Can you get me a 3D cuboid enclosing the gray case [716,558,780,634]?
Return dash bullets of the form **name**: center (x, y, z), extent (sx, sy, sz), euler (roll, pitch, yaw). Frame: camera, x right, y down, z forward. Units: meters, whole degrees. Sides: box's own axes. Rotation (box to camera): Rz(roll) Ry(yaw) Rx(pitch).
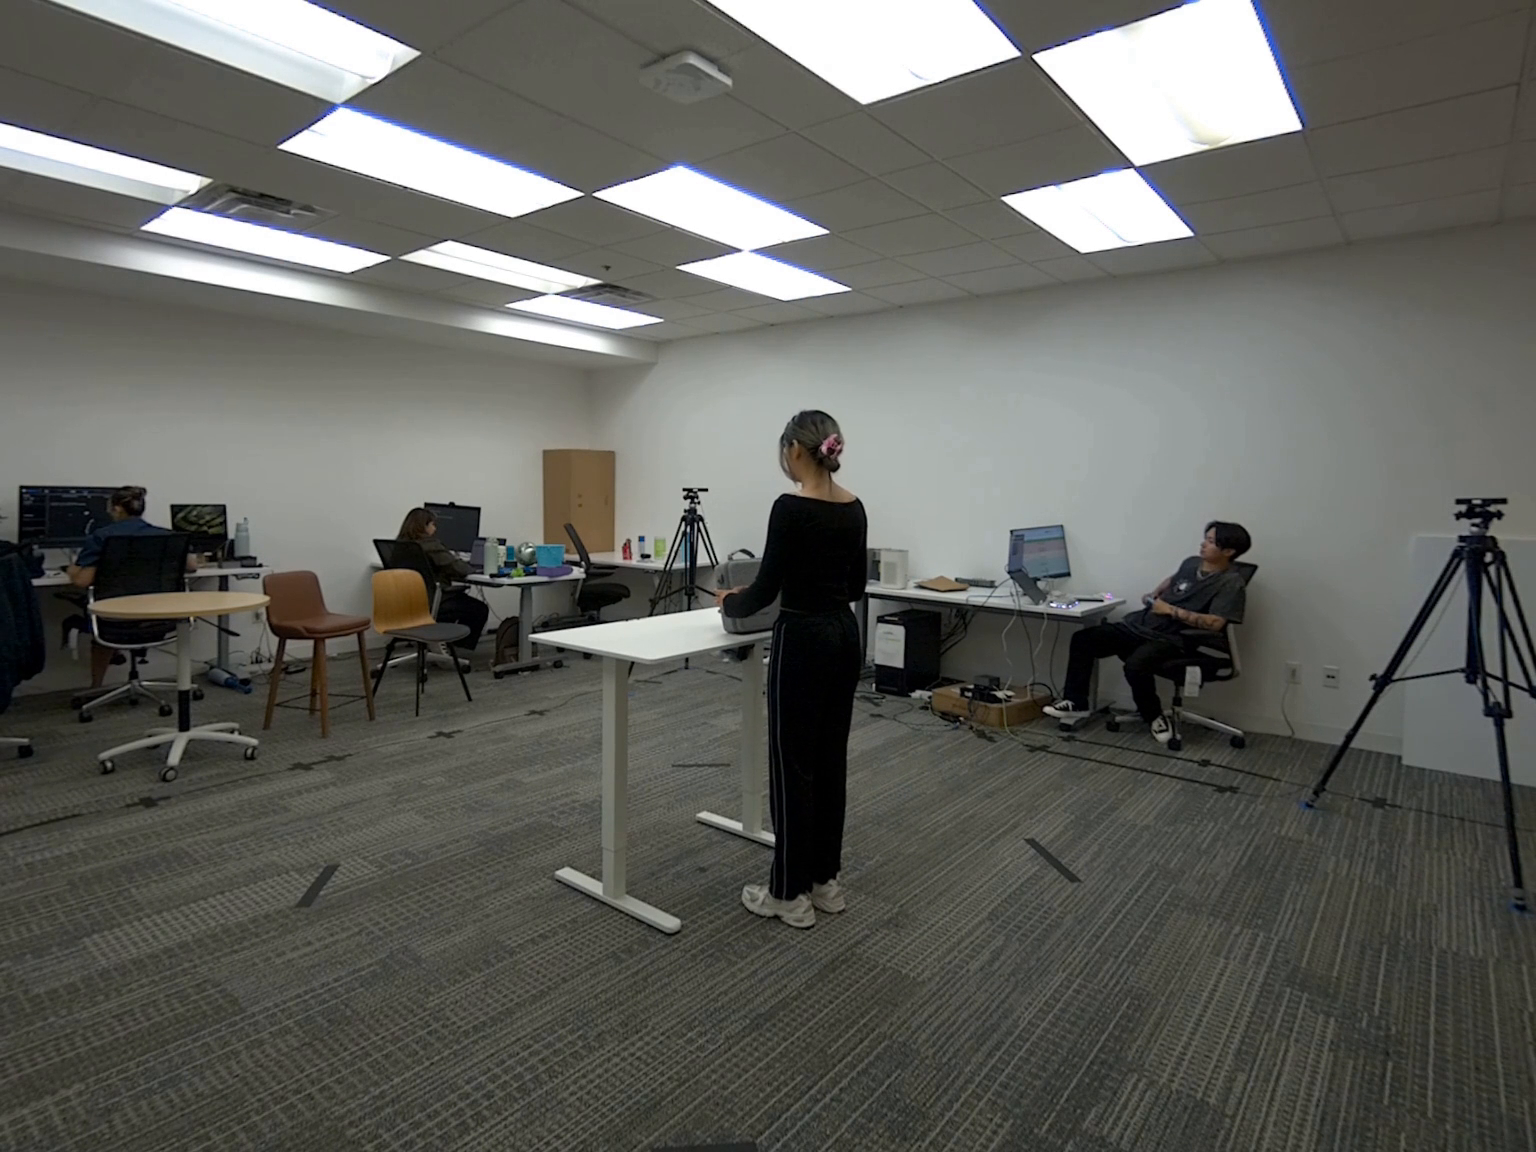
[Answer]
- **gray case**: center (-0.068, 0.063, 3.048), extent (0.249, 0.262, 0.107), euler (-3, -8, -40)
